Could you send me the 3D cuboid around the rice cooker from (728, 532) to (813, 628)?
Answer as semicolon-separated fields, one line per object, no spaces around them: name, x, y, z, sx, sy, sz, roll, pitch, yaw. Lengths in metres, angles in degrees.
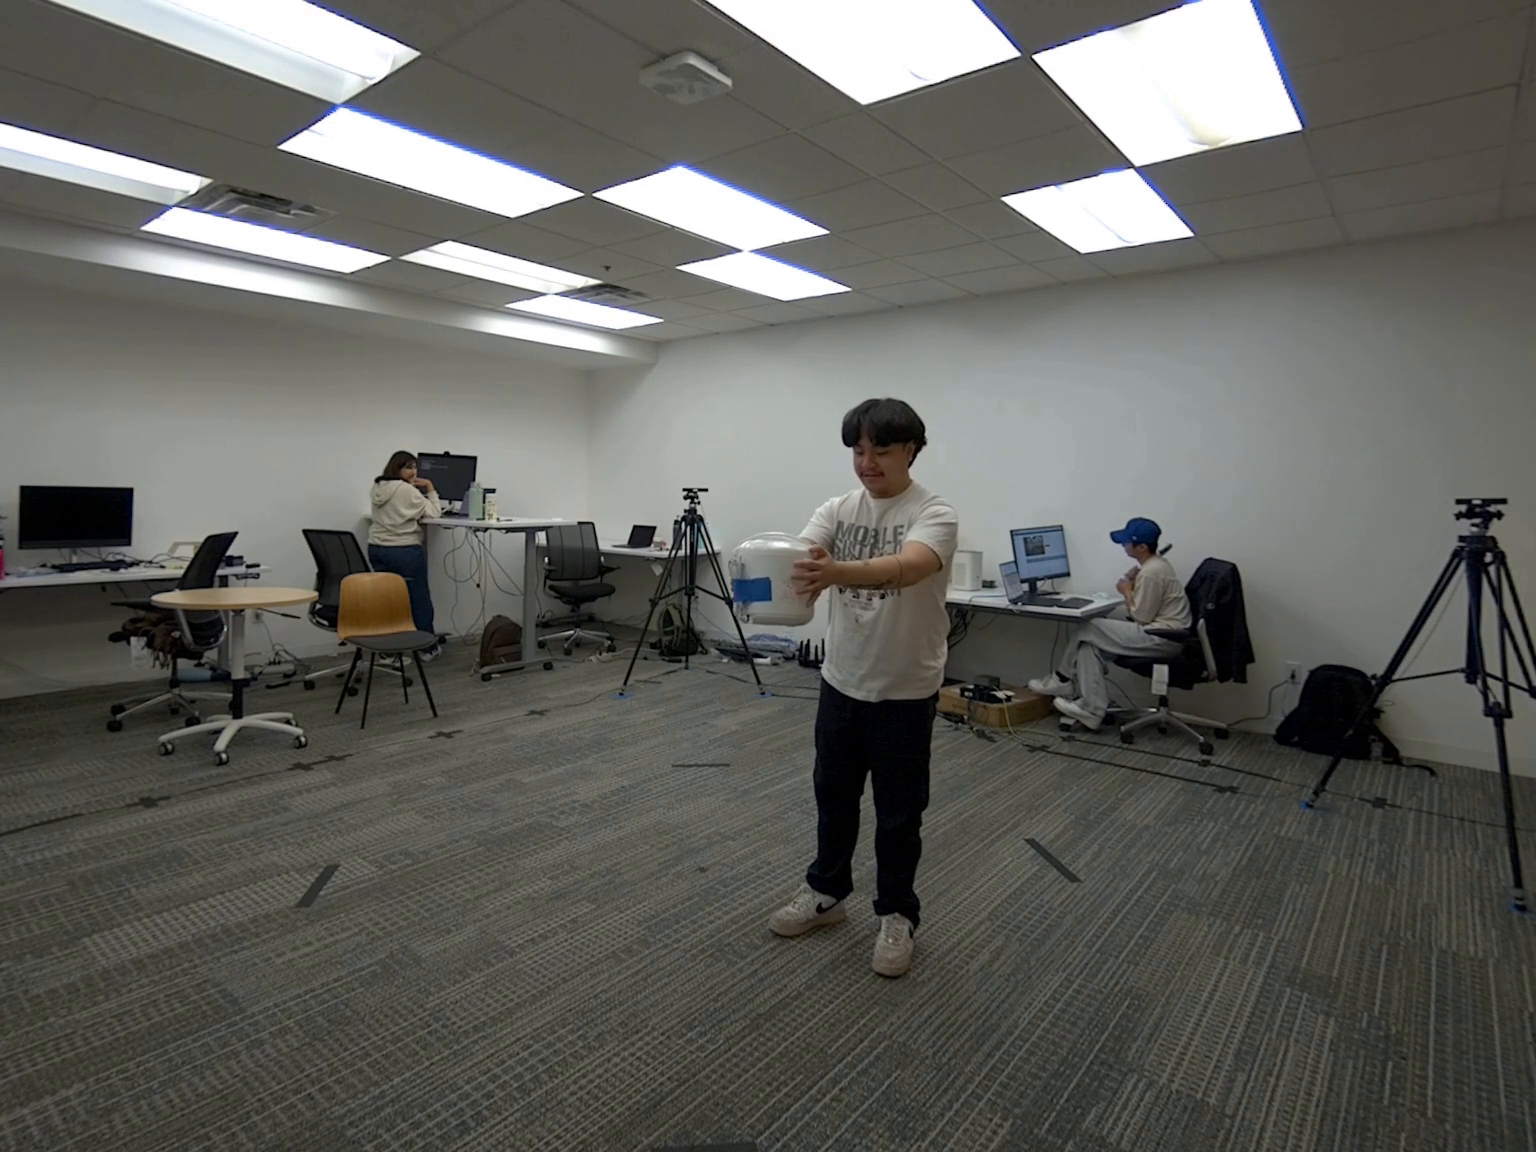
rice cooker;0.004;0.010;2.149;0.222;0.233;0.216;5;-1;4
